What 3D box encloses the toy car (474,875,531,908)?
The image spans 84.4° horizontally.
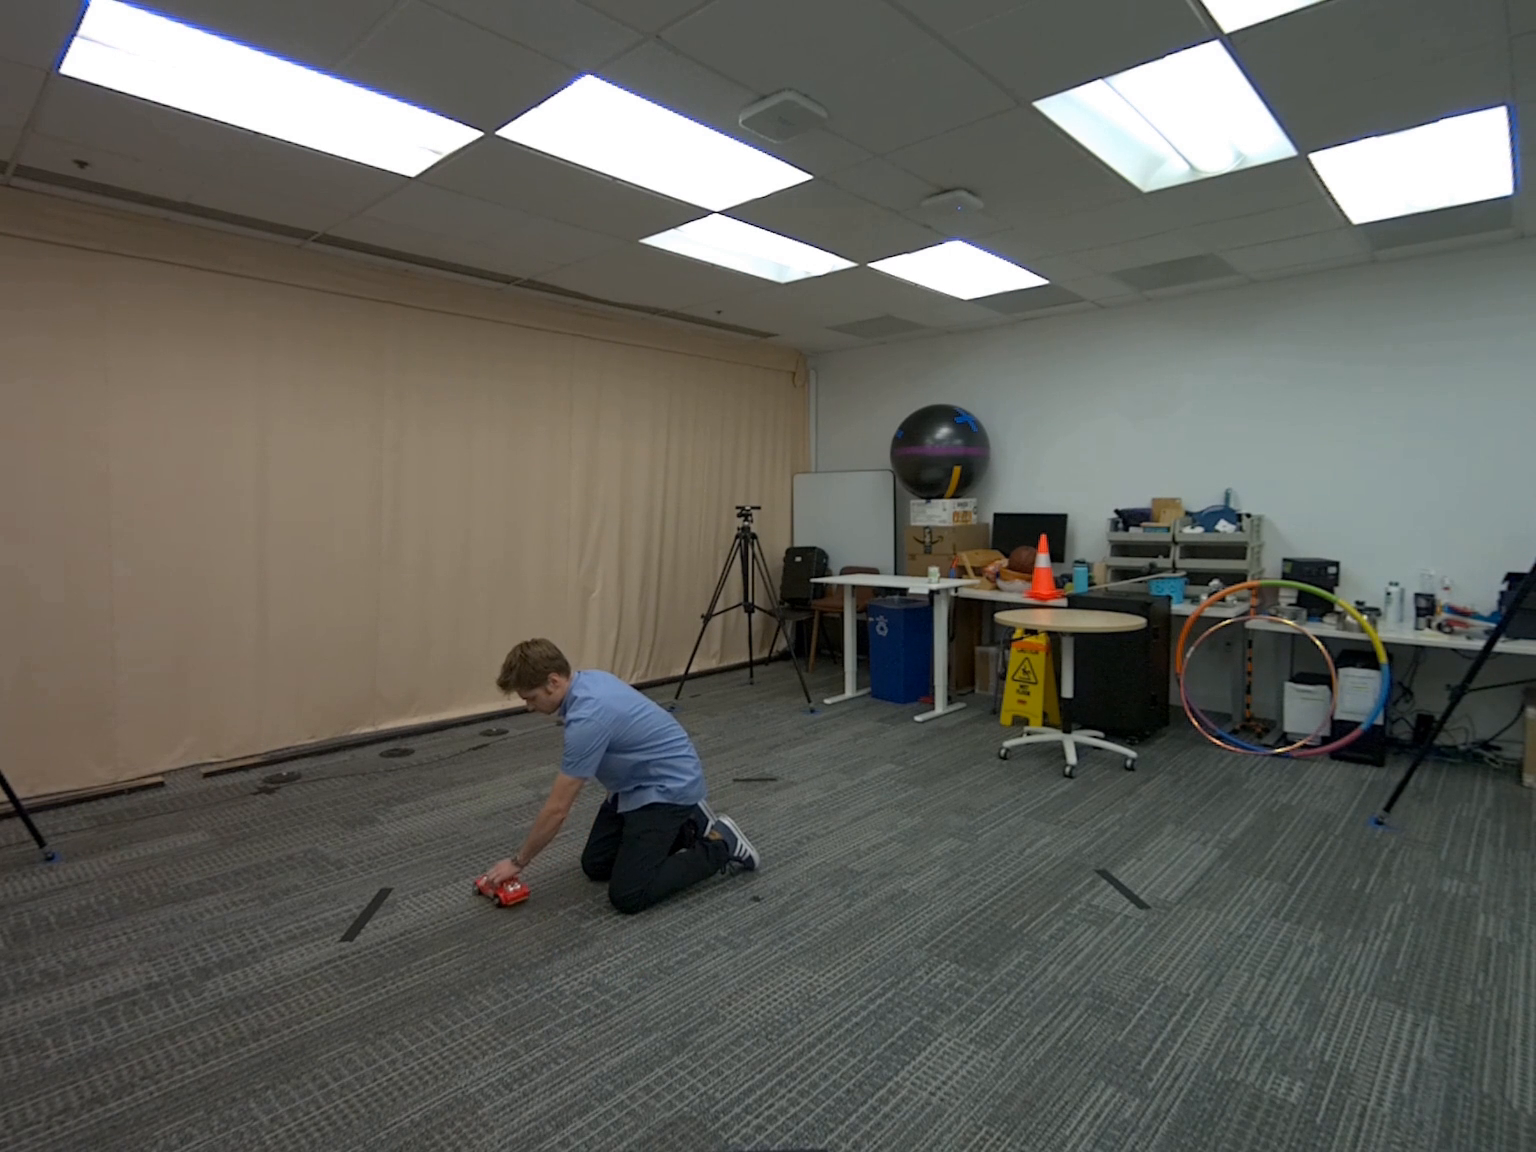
[{"bbox_3d":[-0.952,1.125,2.997,0.262,0.083,0.126,-10,-4,43],"label":"toy car"}]
